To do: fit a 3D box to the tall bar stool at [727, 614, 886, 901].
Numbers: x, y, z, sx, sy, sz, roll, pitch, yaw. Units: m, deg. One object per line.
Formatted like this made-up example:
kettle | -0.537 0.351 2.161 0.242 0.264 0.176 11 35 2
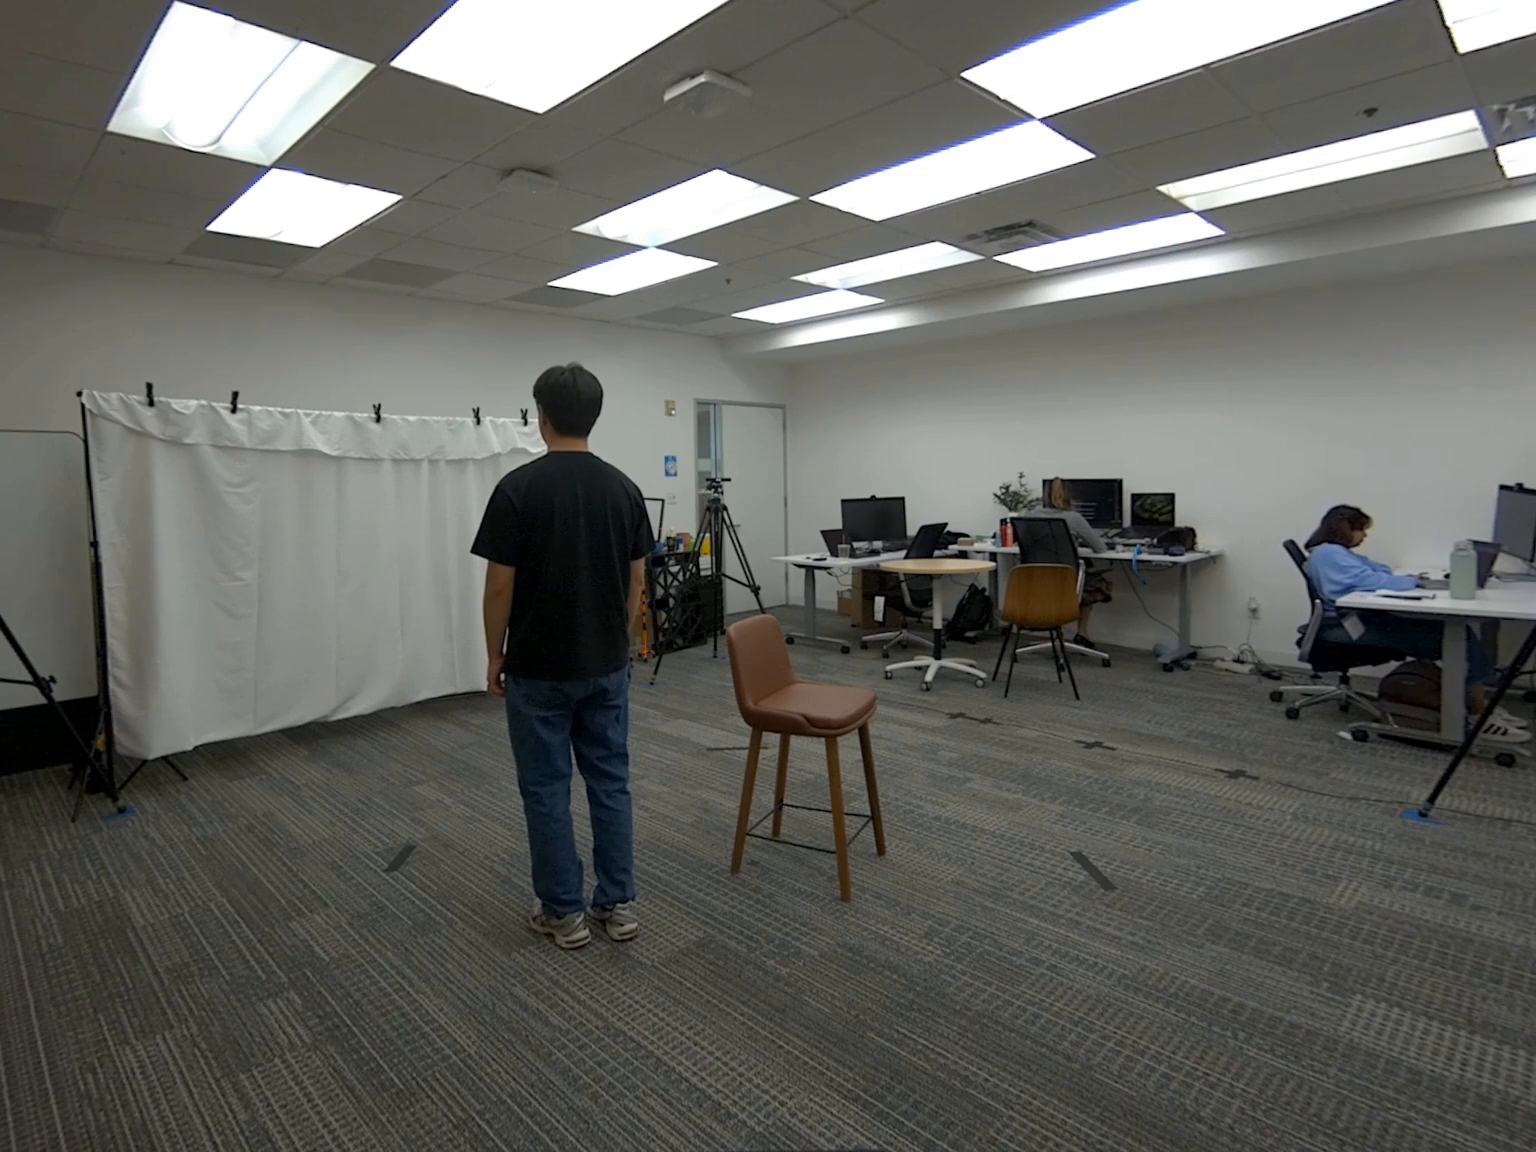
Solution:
tall bar stool | 0.140 0.608 3.070 0.479 0.888 0.446 -1 3 28
